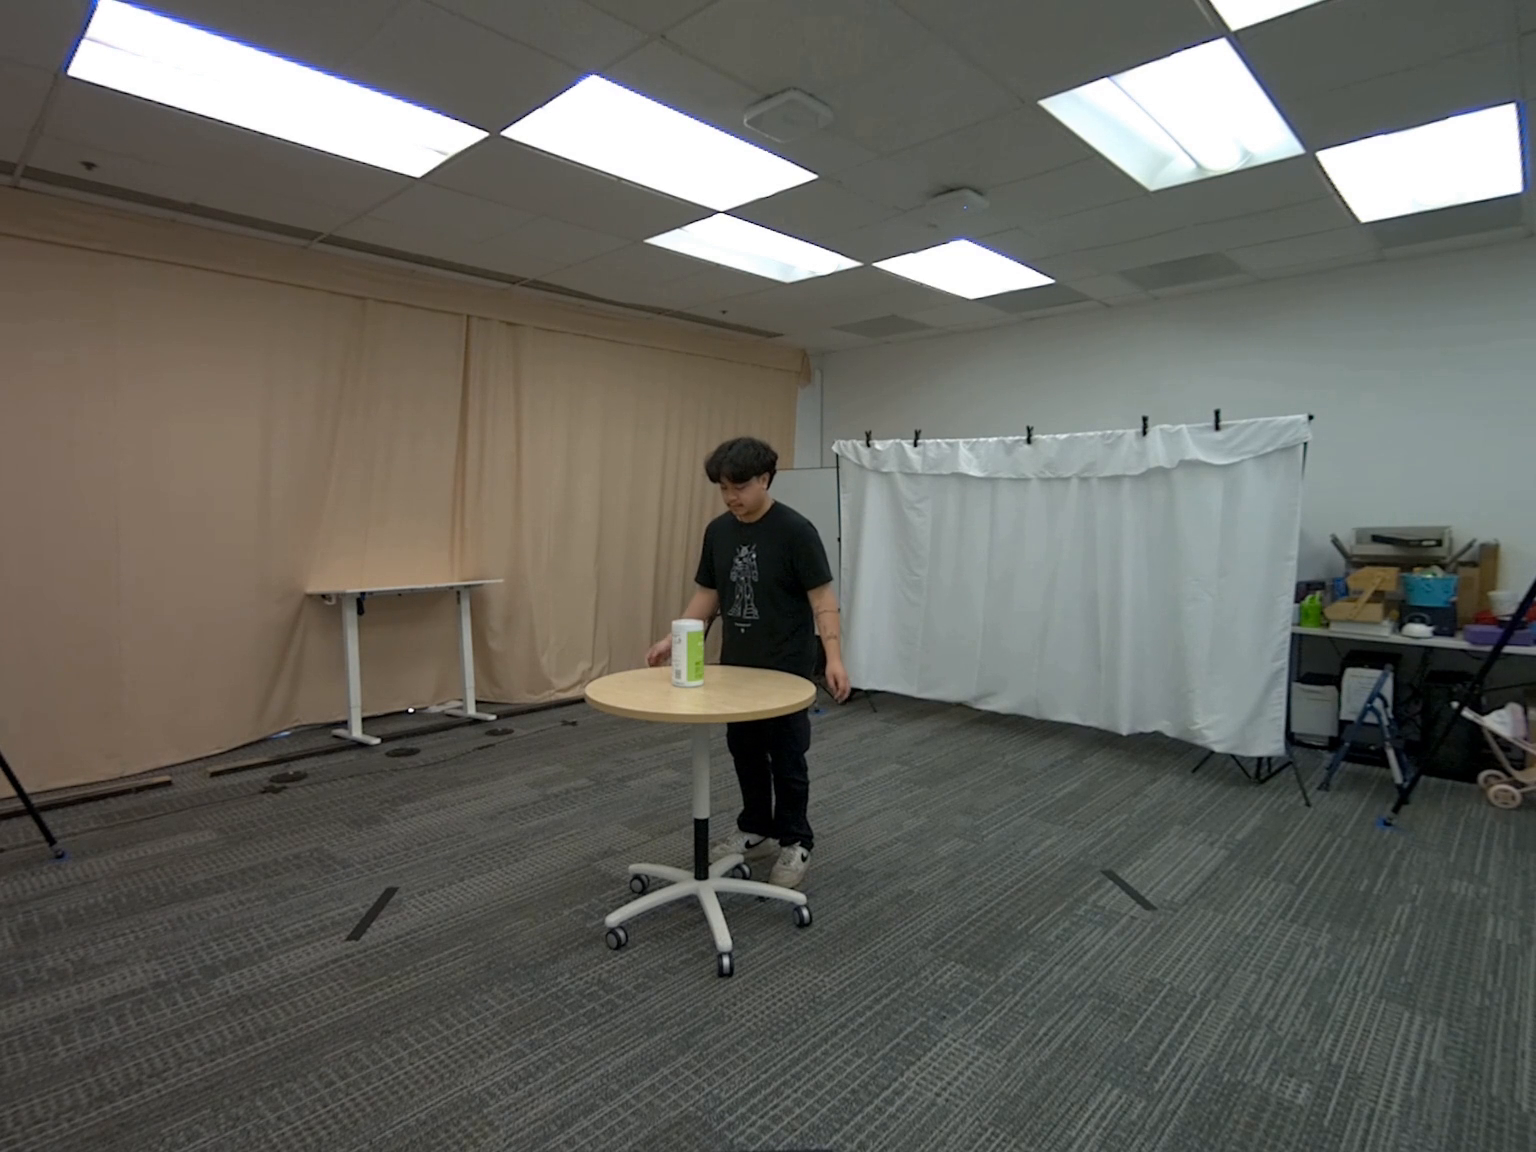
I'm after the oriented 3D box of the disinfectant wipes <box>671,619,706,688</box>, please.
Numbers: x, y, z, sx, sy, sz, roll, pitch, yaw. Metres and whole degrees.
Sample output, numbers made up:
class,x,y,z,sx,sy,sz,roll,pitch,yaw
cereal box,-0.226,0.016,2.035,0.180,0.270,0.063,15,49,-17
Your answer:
class,x,y,z,sx,sy,sz,roll,pitch,yaw
disinfectant wipes,-0.268,0.261,2.828,0.118,0.217,0.118,0,4,-2
